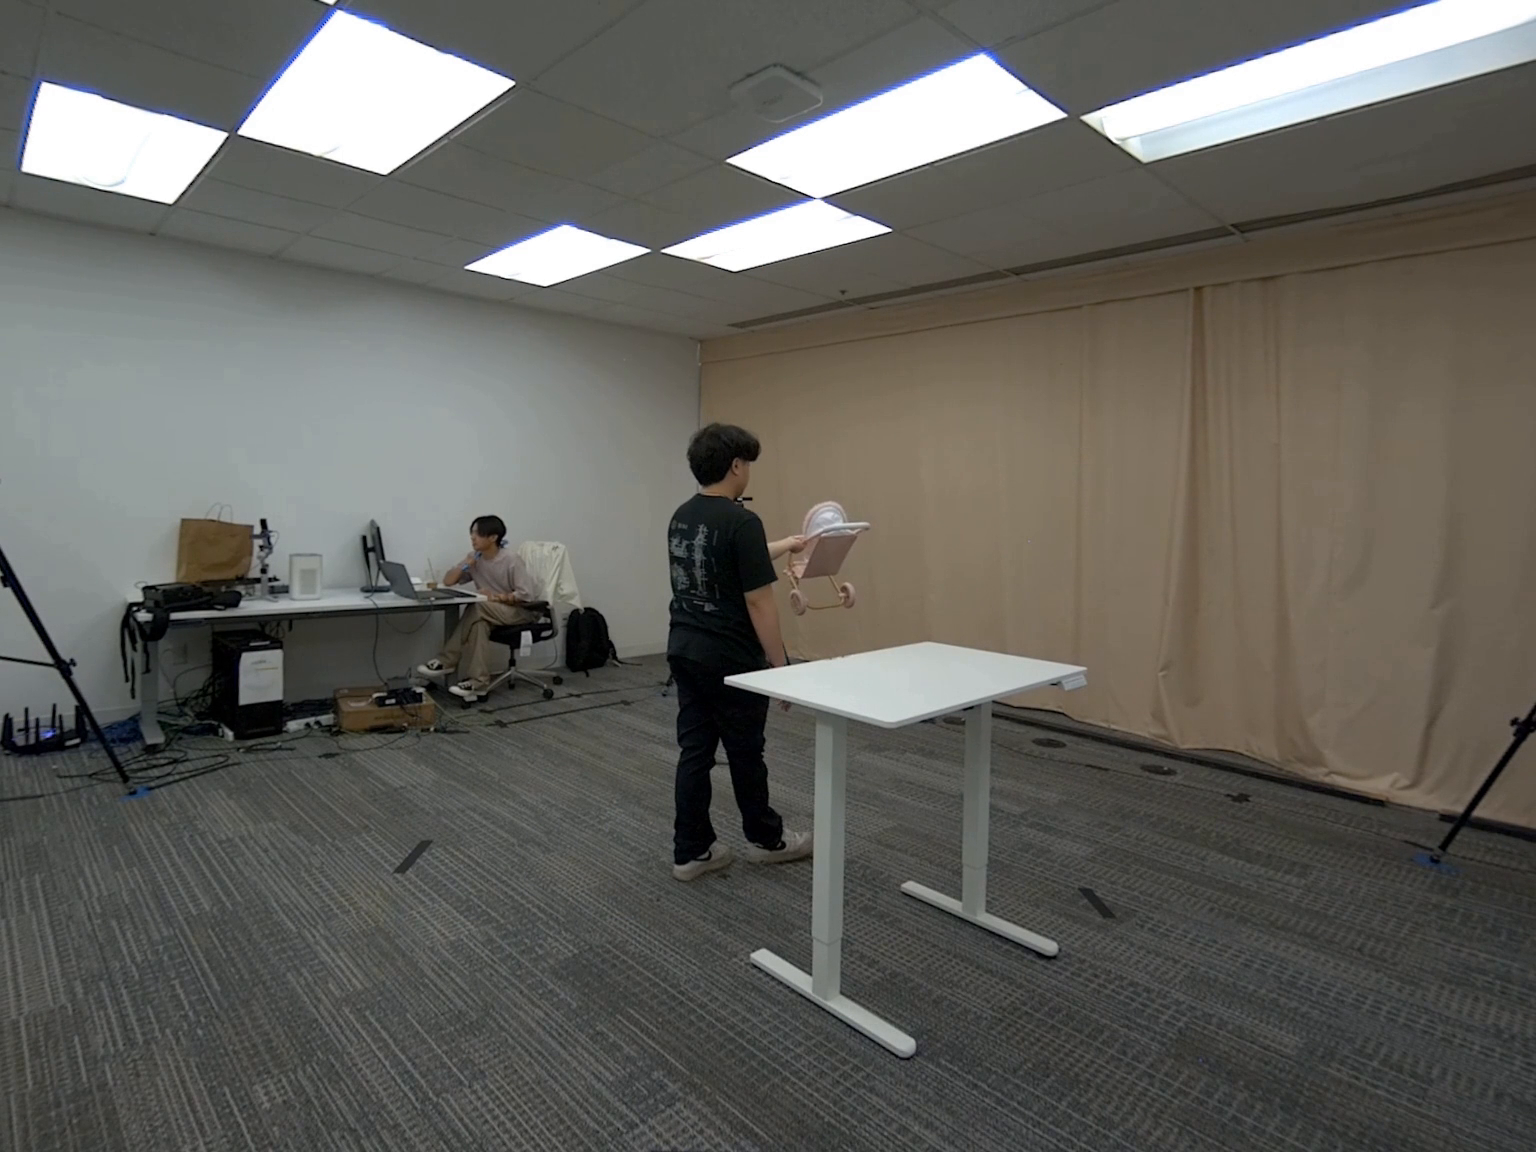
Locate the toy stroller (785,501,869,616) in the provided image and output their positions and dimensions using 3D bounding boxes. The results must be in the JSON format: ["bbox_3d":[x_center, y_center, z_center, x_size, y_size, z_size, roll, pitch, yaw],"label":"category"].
[{"bbox_3d":[0.218,-0.090,3.570,0.277,0.527,0.352,-3,37,-22],"label":"toy stroller"}]
